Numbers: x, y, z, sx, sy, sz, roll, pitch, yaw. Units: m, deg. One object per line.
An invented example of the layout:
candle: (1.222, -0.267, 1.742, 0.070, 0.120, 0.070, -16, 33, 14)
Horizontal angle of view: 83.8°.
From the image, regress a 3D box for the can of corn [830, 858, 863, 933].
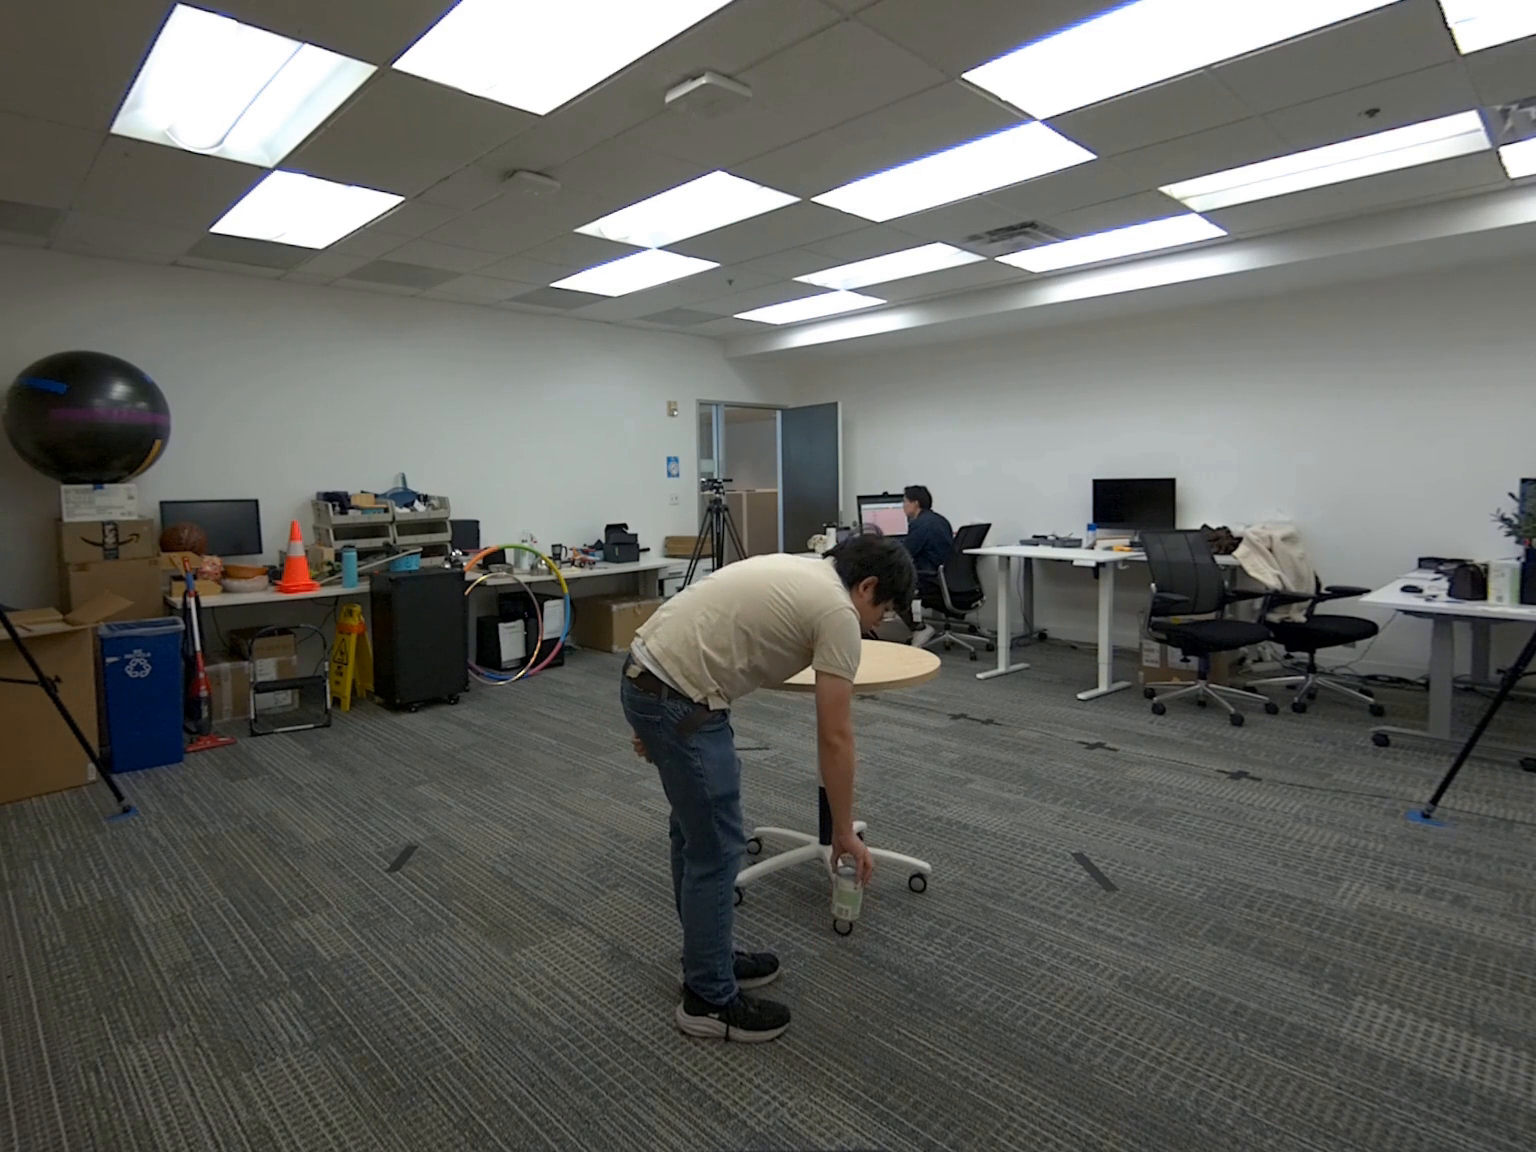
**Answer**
can of corn: (0.199, 0.805, 2.162, 0.074, 0.110, 0.075, 3, 6, -2)
